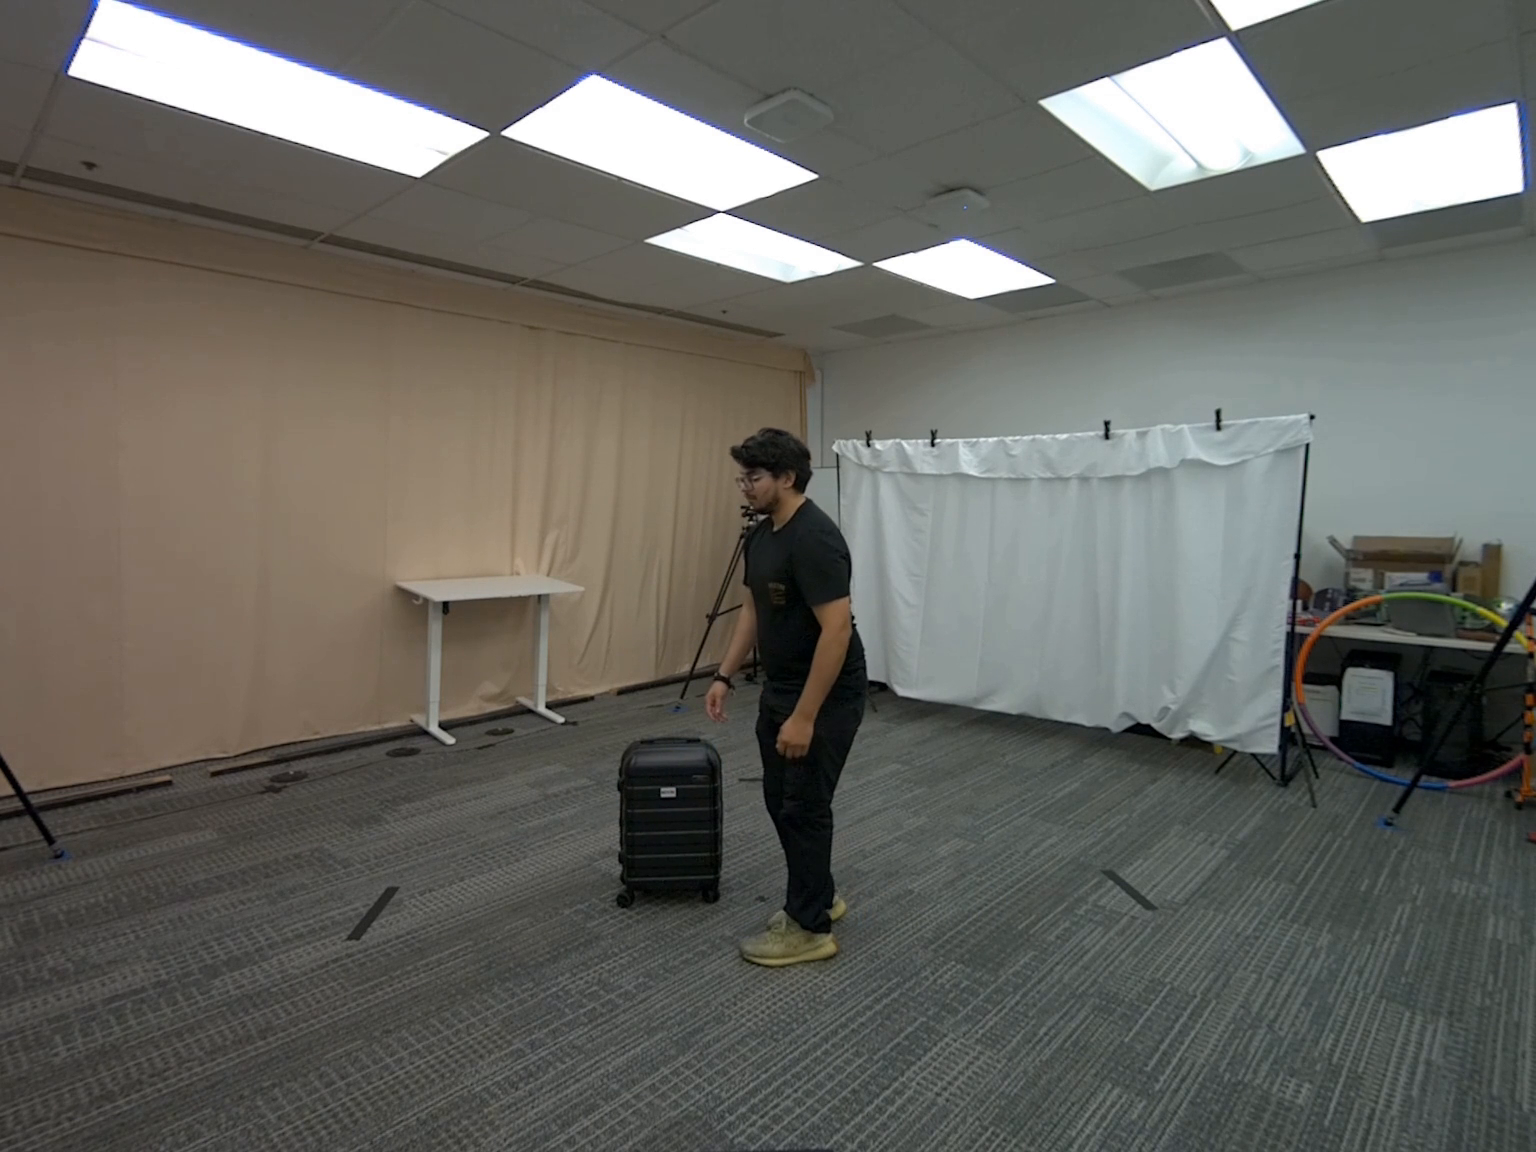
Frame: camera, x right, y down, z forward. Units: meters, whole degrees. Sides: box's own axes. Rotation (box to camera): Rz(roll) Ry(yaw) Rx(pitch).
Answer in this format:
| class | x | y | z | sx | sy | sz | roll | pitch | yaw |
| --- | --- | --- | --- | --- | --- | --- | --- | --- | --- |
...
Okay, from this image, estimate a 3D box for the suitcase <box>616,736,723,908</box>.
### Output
| class | x | y | z | sx | sy | sz | roll | pitch | yaw |
| --- | --- | --- | --- | --- | --- | --- | --- | --- | --- |
| suitcase | -0.348 | 0.866 | 3.030 | 0.374 | 0.548 | 0.250 | 0 | 3 | -5 |
